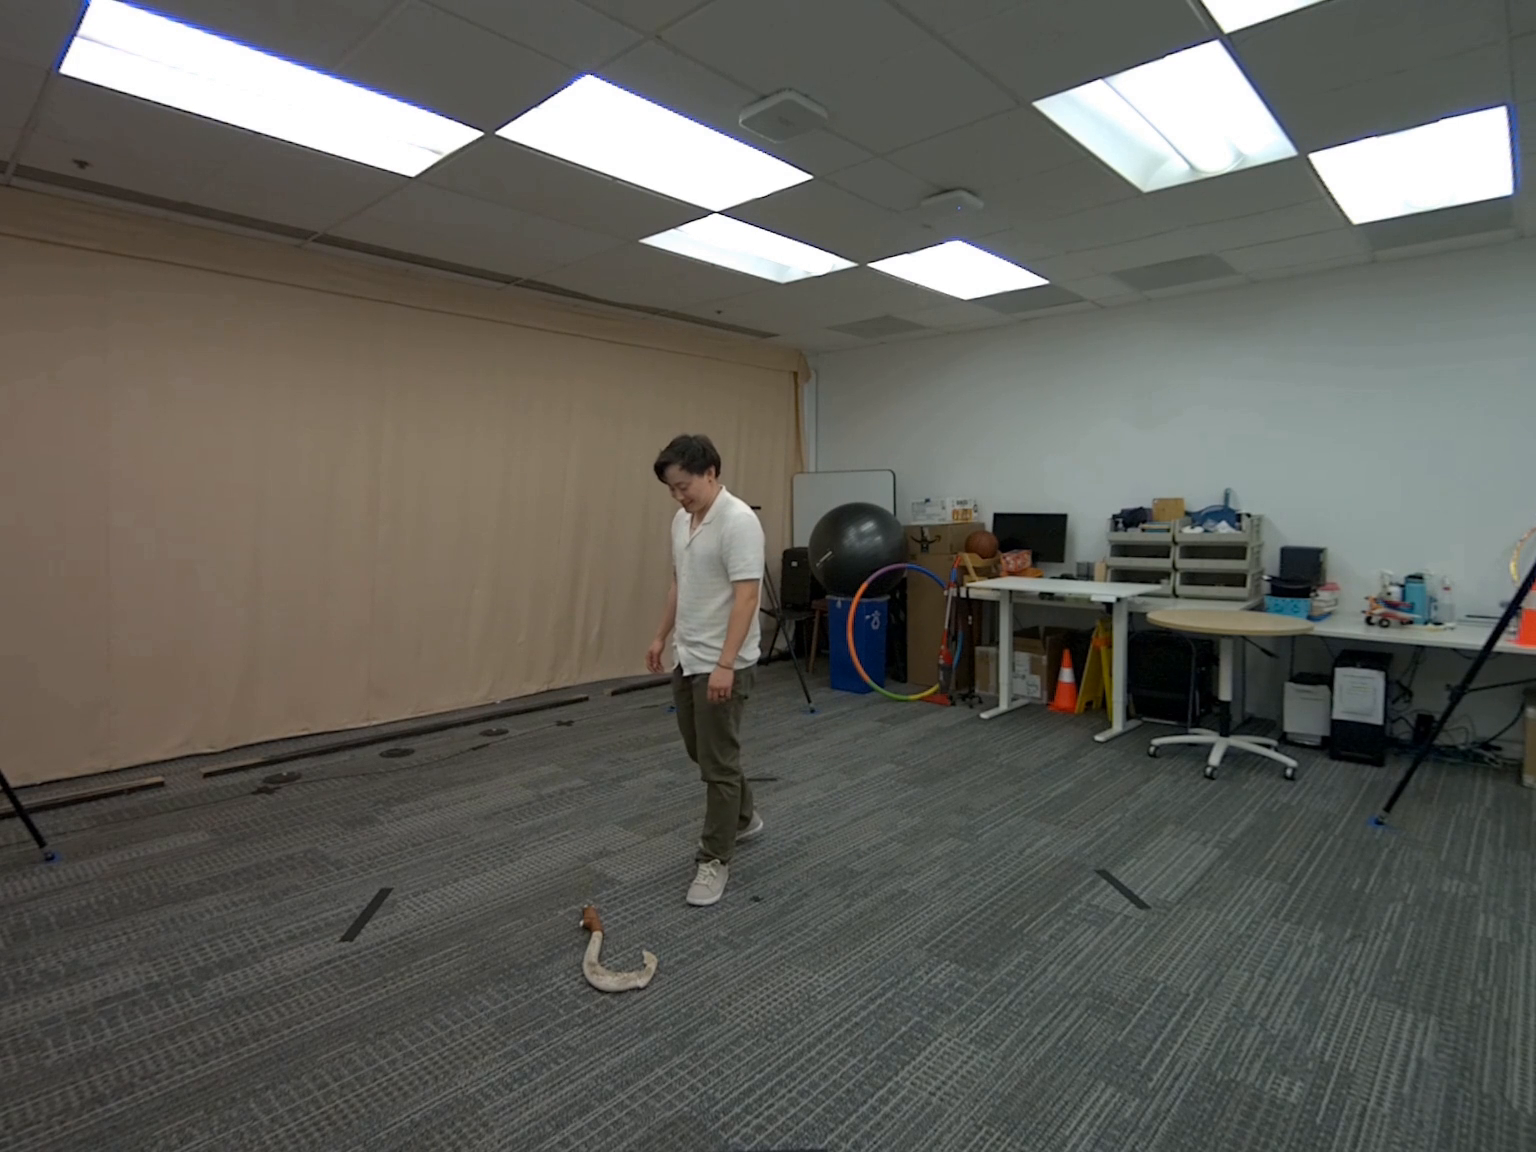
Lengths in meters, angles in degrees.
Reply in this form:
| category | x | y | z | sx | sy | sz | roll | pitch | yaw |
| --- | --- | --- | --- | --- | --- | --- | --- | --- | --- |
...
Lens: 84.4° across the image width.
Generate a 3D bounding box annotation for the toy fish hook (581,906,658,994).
| category | x | y | z | sx | sy | sz | roll | pitch | yaw |
| --- | --- | --- | --- | --- | --- | --- | --- | --- | --- |
| toy fish hook | -0.482 | 1.160 | 2.644 | 0.220 | 0.048 | 0.517 | 6 | 3 | -19 |
